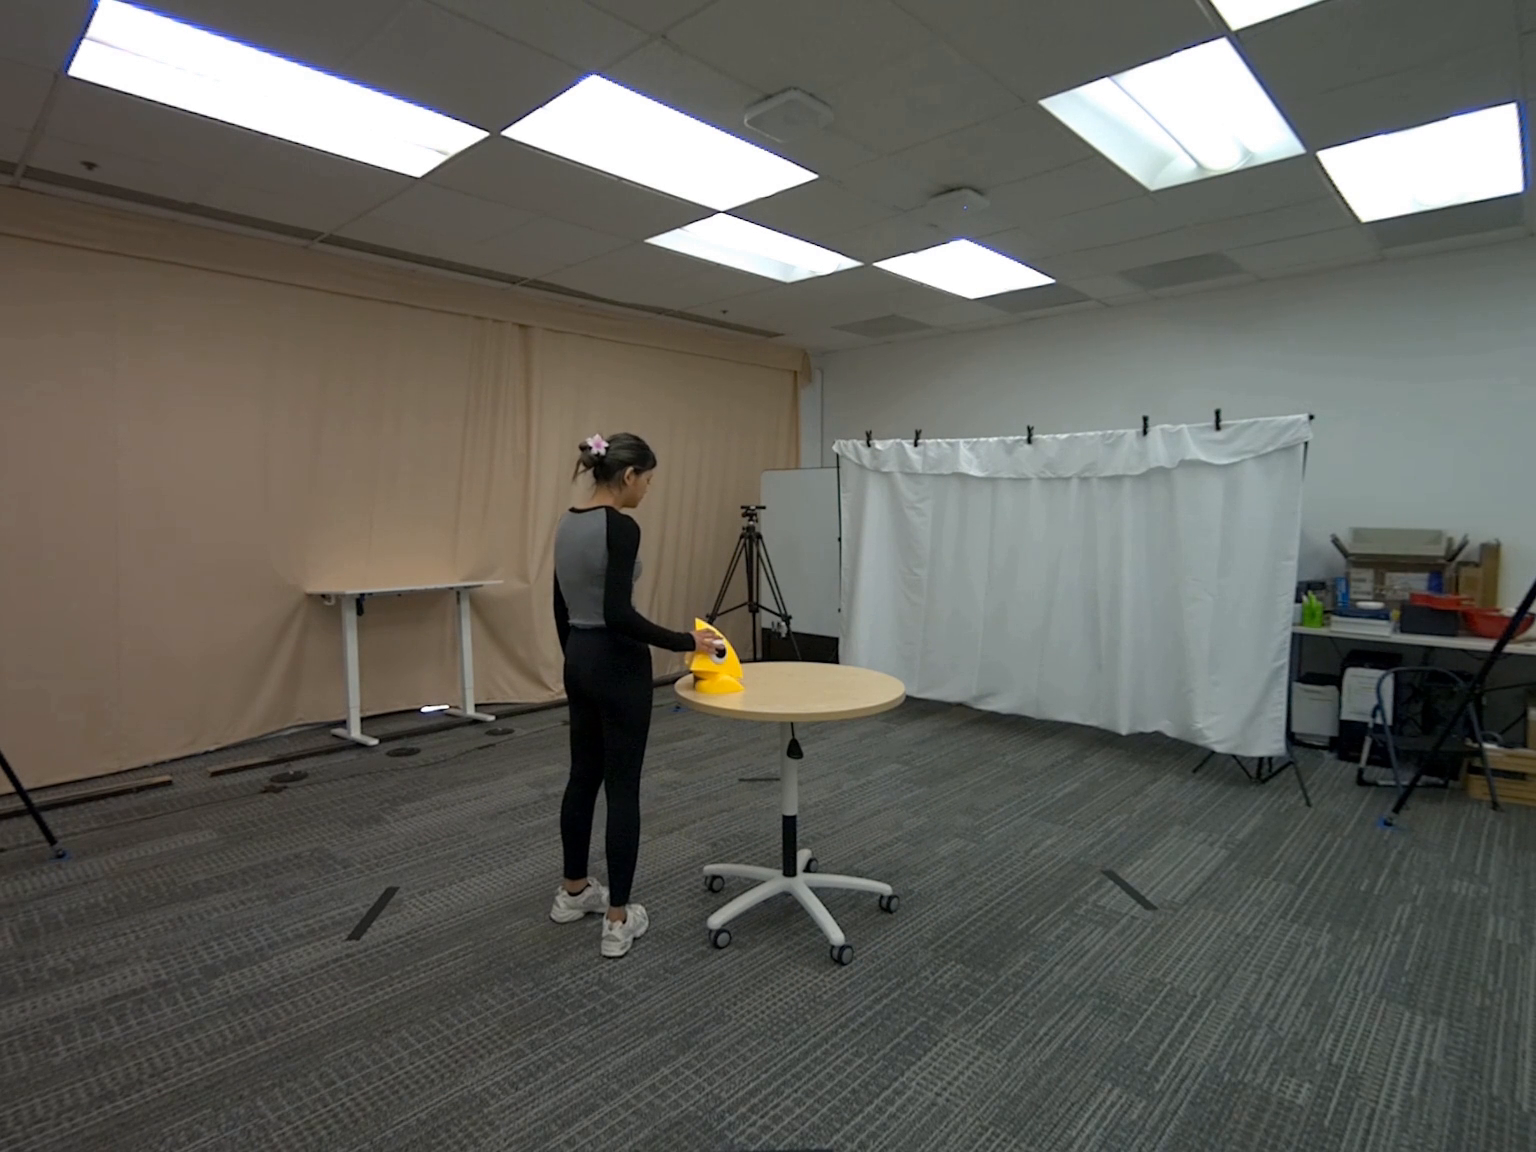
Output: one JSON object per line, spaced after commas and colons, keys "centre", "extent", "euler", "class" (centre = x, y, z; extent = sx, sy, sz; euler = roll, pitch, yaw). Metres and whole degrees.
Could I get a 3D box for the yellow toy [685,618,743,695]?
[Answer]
{"centre": [-0.176, 0.255, 2.796], "extent": [0.191, 0.230, 0.207], "euler": [-1, 4, -9], "class": "yellow toy"}
